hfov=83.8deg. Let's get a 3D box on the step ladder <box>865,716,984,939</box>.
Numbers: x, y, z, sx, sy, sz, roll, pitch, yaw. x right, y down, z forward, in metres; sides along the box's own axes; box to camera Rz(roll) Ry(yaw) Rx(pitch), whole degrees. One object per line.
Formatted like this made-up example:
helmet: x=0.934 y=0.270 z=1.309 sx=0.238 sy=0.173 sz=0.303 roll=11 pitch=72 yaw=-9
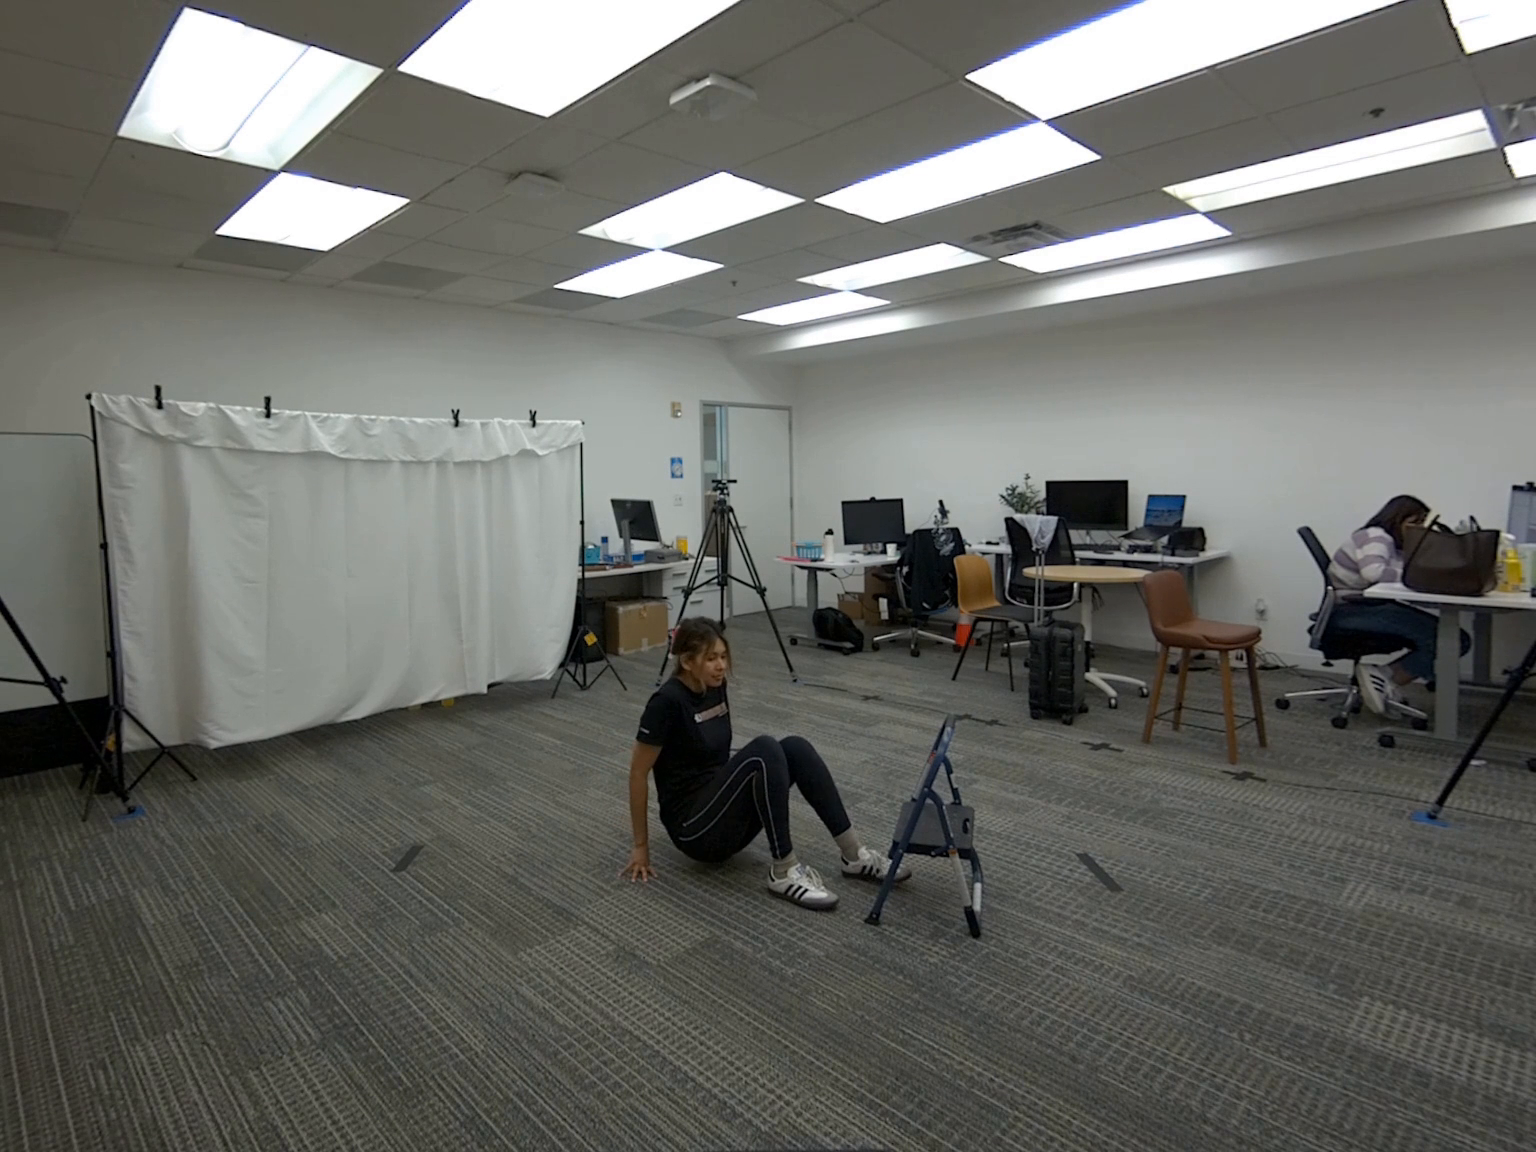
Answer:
step ladder: x=0.527 y=0.768 z=2.798 sx=0.355 sy=0.604 sz=0.425 roll=0 pitch=5 yaw=16
